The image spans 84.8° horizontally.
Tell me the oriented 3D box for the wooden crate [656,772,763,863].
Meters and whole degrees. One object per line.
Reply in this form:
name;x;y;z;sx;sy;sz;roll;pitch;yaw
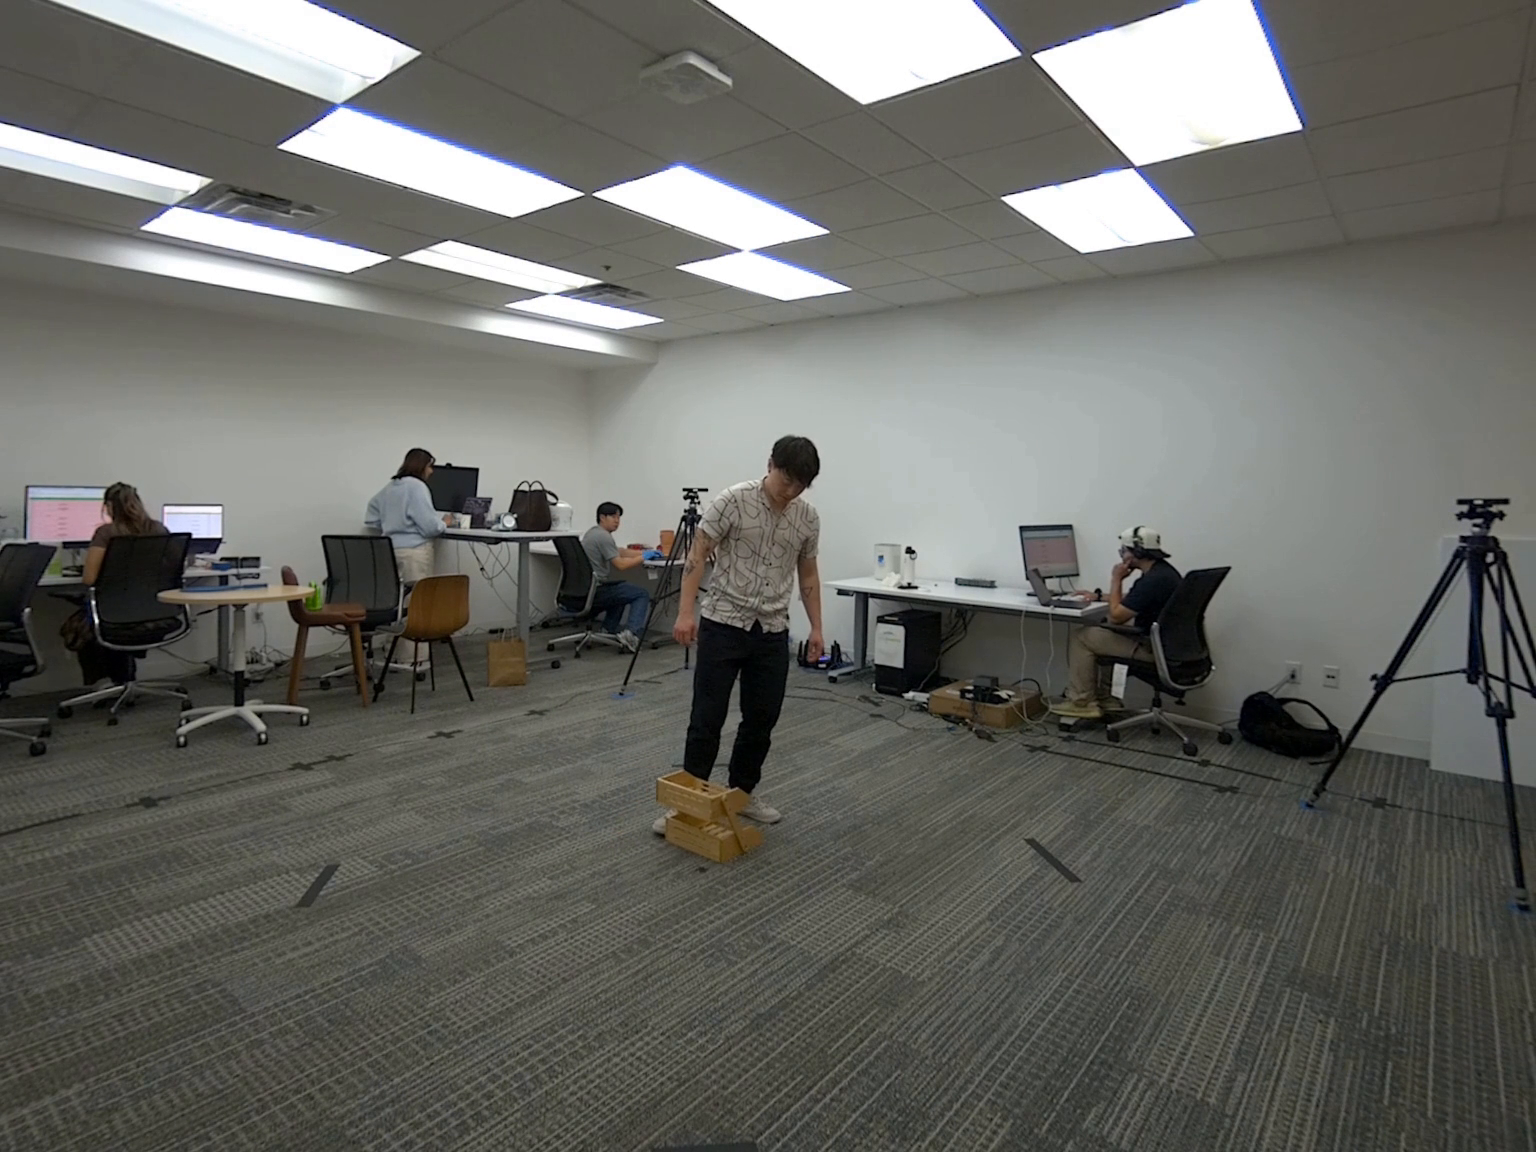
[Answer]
wooden crate;-0.237;0.911;3.328;0.335;0.272;0.293;4;6;41
